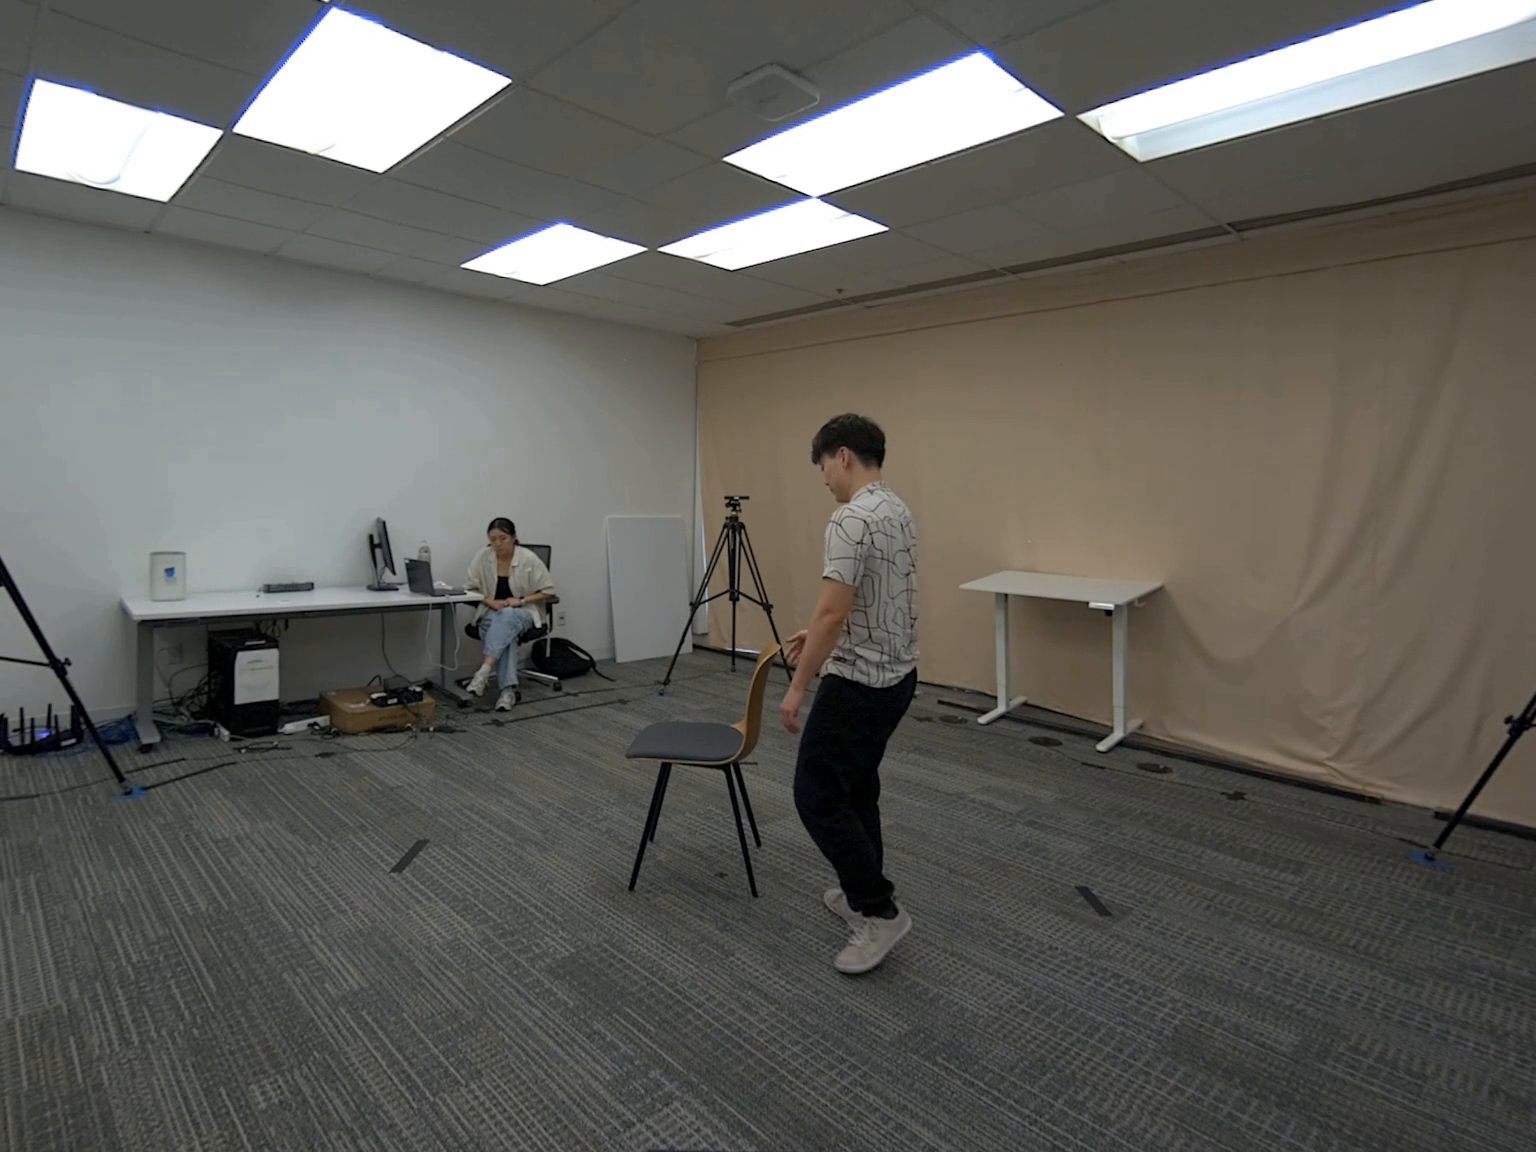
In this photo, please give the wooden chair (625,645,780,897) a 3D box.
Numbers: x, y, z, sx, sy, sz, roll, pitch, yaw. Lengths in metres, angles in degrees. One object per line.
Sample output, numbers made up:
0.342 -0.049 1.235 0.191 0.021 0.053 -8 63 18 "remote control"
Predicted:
-0.261 0.672 3.131 0.524 0.875 0.478 6 4 1 "wooden chair"
